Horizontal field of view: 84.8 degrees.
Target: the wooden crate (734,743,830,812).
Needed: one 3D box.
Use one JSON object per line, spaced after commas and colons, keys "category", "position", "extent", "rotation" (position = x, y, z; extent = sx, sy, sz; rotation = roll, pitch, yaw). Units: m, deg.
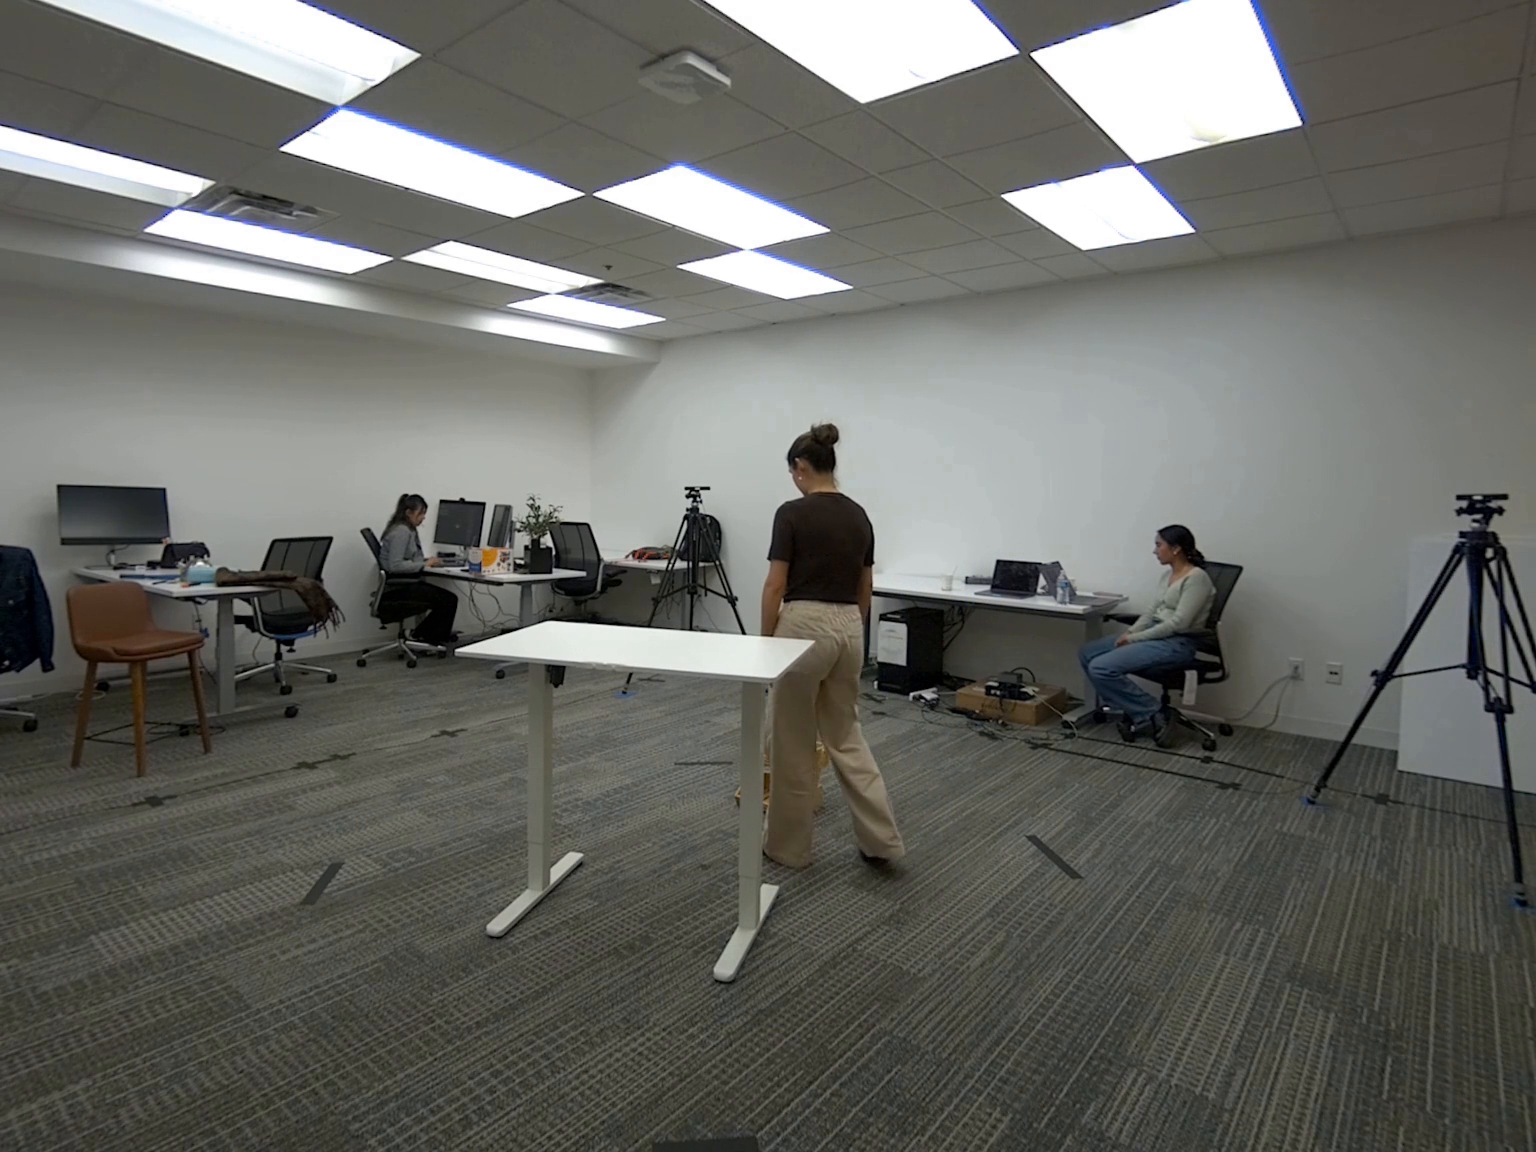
{"category": "wooden crate", "position": [0.059, 0.866, 3.748], "extent": [0.335, 0.272, 0.293], "rotation": [4, 4, 33]}
